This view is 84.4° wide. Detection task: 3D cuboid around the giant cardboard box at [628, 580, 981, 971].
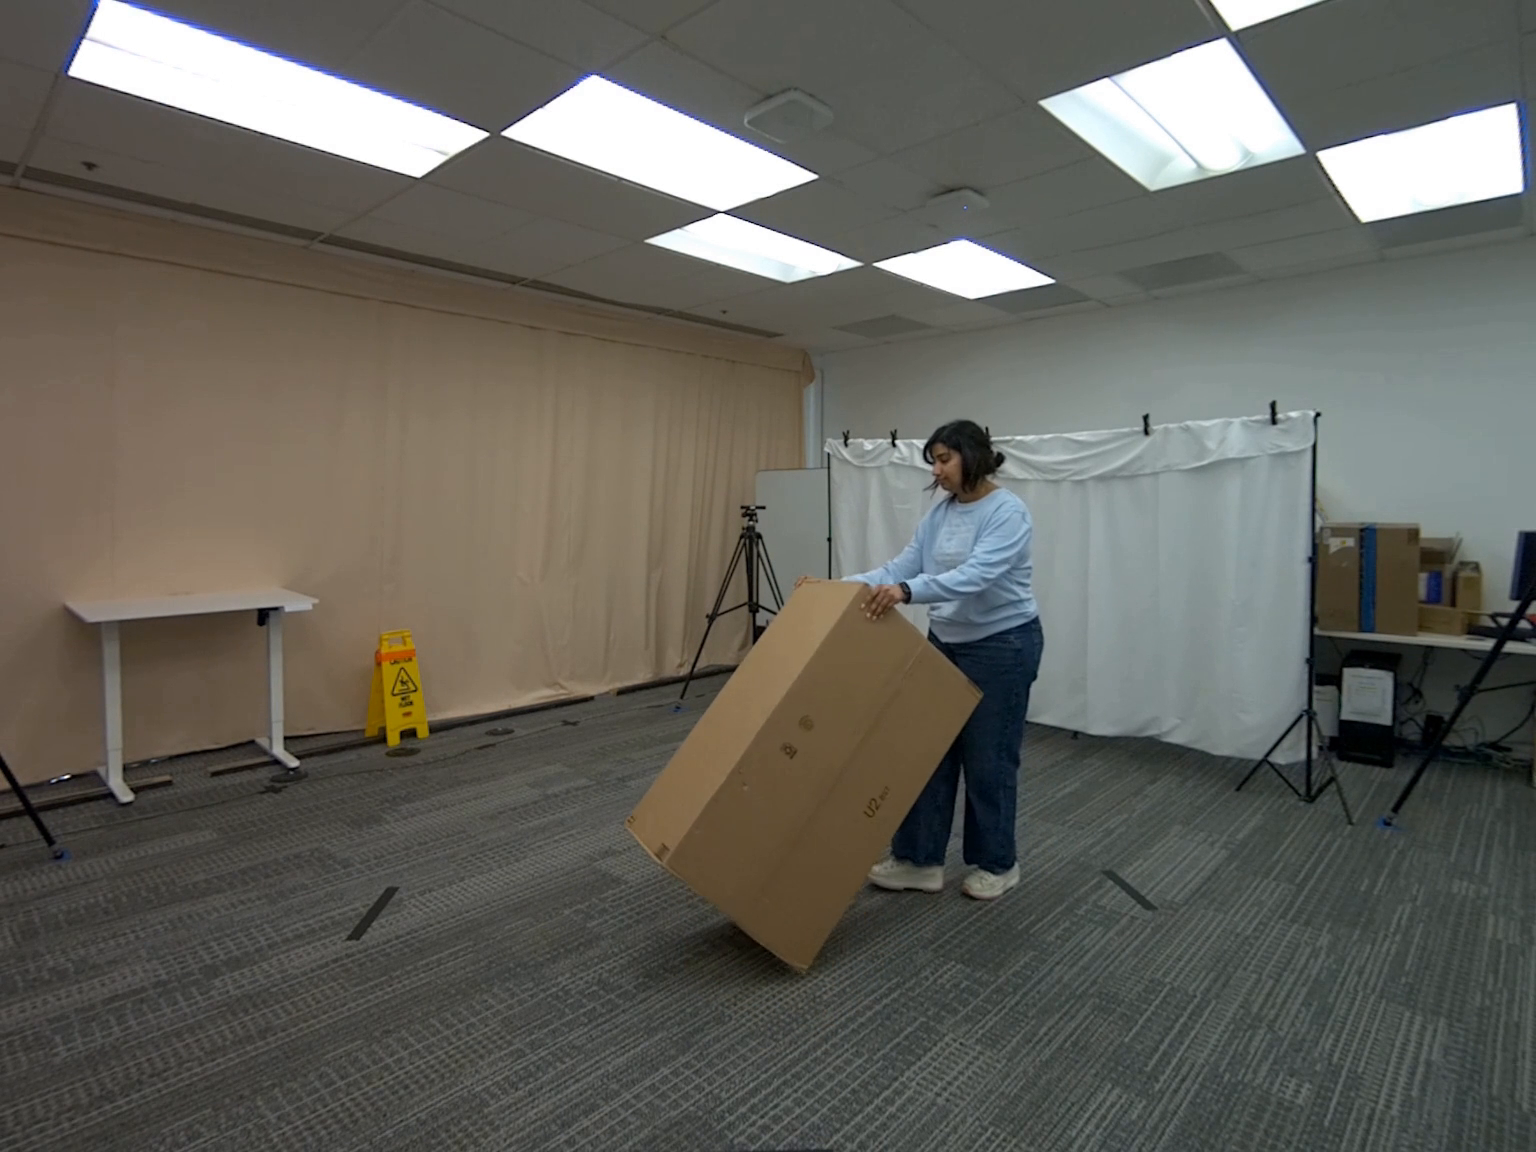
[{"bbox_3d":[0.113,0.593,2.703,0.573,1.024,0.457,42,-14,-17],"label":"giant cardboard box"}]
